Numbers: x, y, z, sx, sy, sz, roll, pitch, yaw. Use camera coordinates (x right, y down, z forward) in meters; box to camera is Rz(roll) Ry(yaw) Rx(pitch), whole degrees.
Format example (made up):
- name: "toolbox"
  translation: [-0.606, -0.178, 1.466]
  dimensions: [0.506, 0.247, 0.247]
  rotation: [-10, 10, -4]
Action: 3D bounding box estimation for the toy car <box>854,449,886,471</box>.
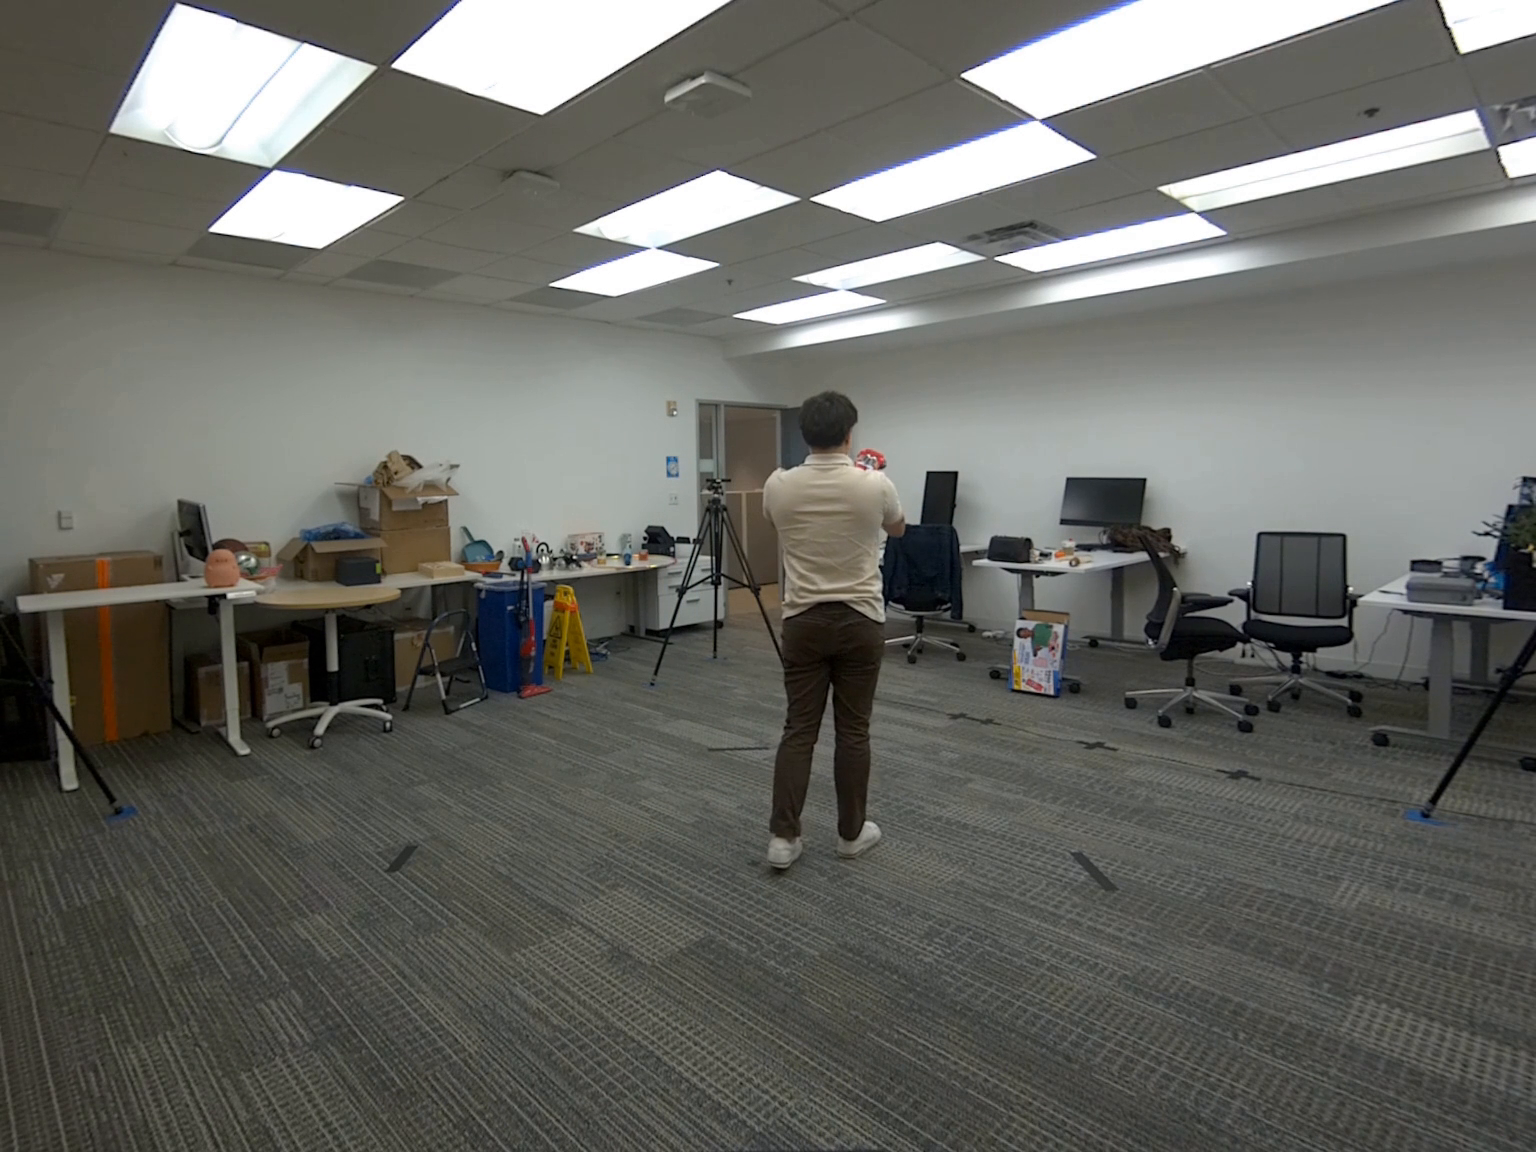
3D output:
- name: "toy car"
  translation: [0.384, -0.408, 3.533]
  dimensions: [0.134, 0.255, 0.080]
  rotation: [26, -23, 25]
